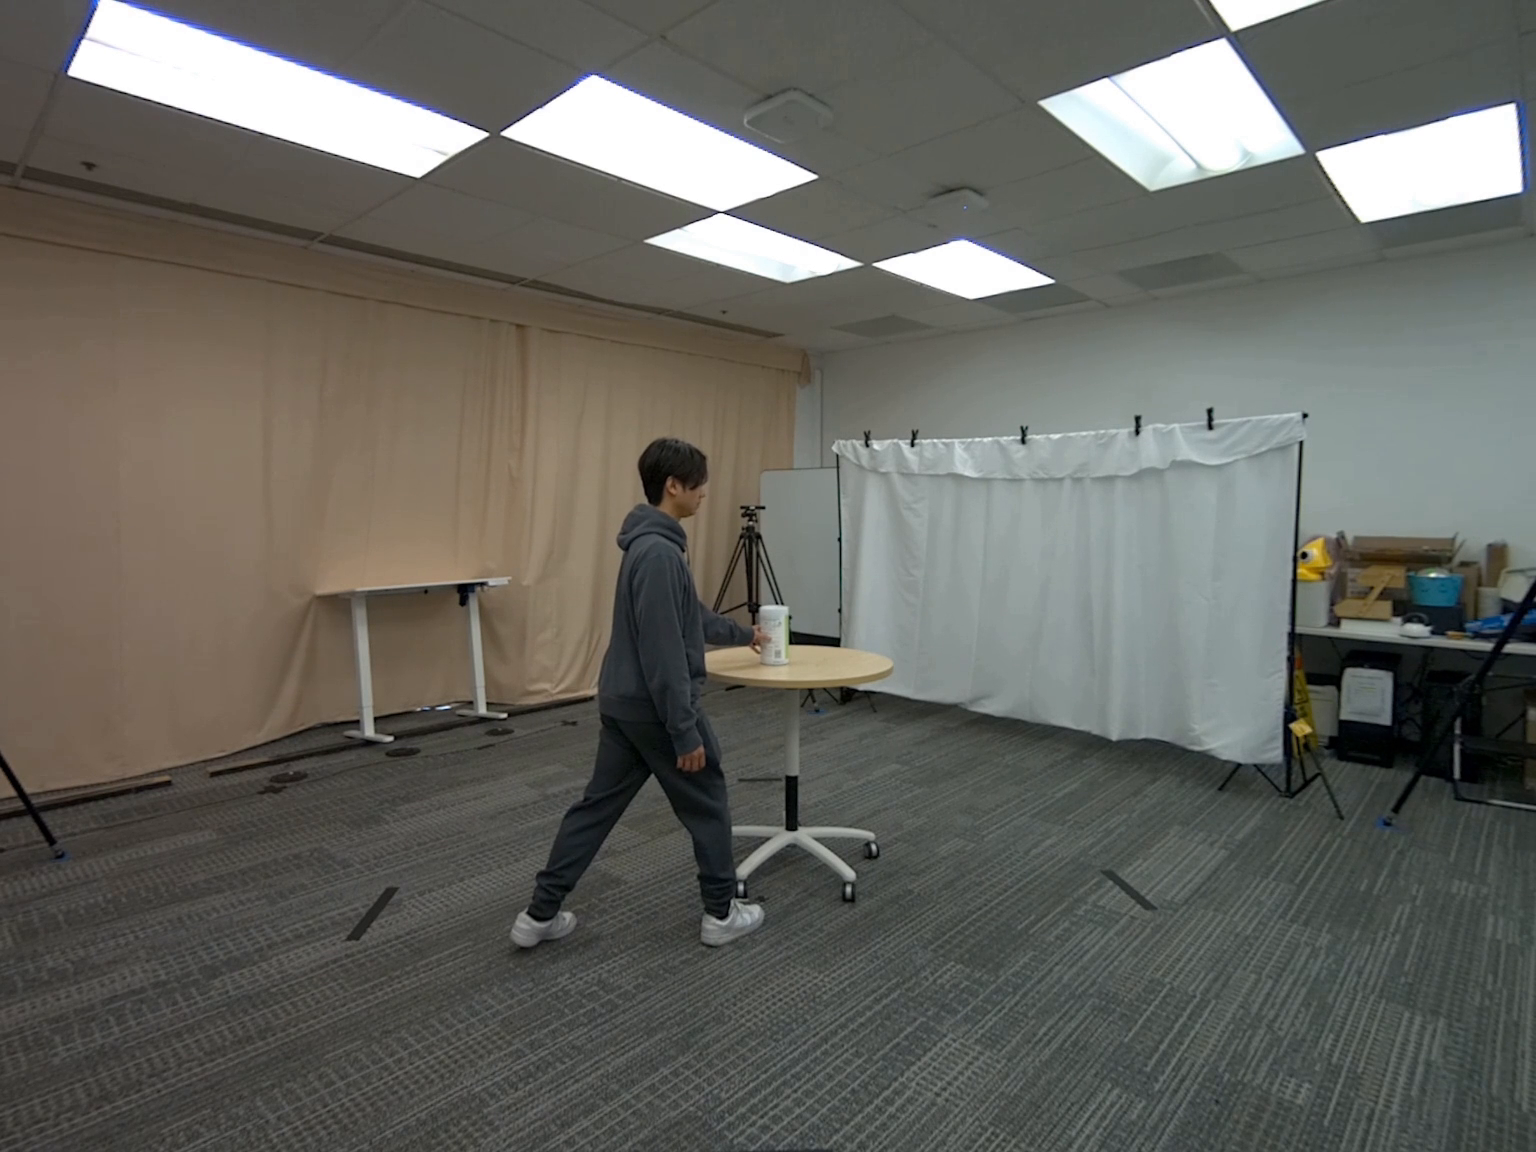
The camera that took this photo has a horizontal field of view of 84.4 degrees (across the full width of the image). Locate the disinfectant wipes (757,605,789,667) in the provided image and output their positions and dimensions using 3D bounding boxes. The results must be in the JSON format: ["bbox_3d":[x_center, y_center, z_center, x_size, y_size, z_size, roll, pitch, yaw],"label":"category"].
[{"bbox_3d":[0.023,0.222,3.174,0.118,0.217,0.118,-1,3,-2],"label":"disinfectant wipes"}]
